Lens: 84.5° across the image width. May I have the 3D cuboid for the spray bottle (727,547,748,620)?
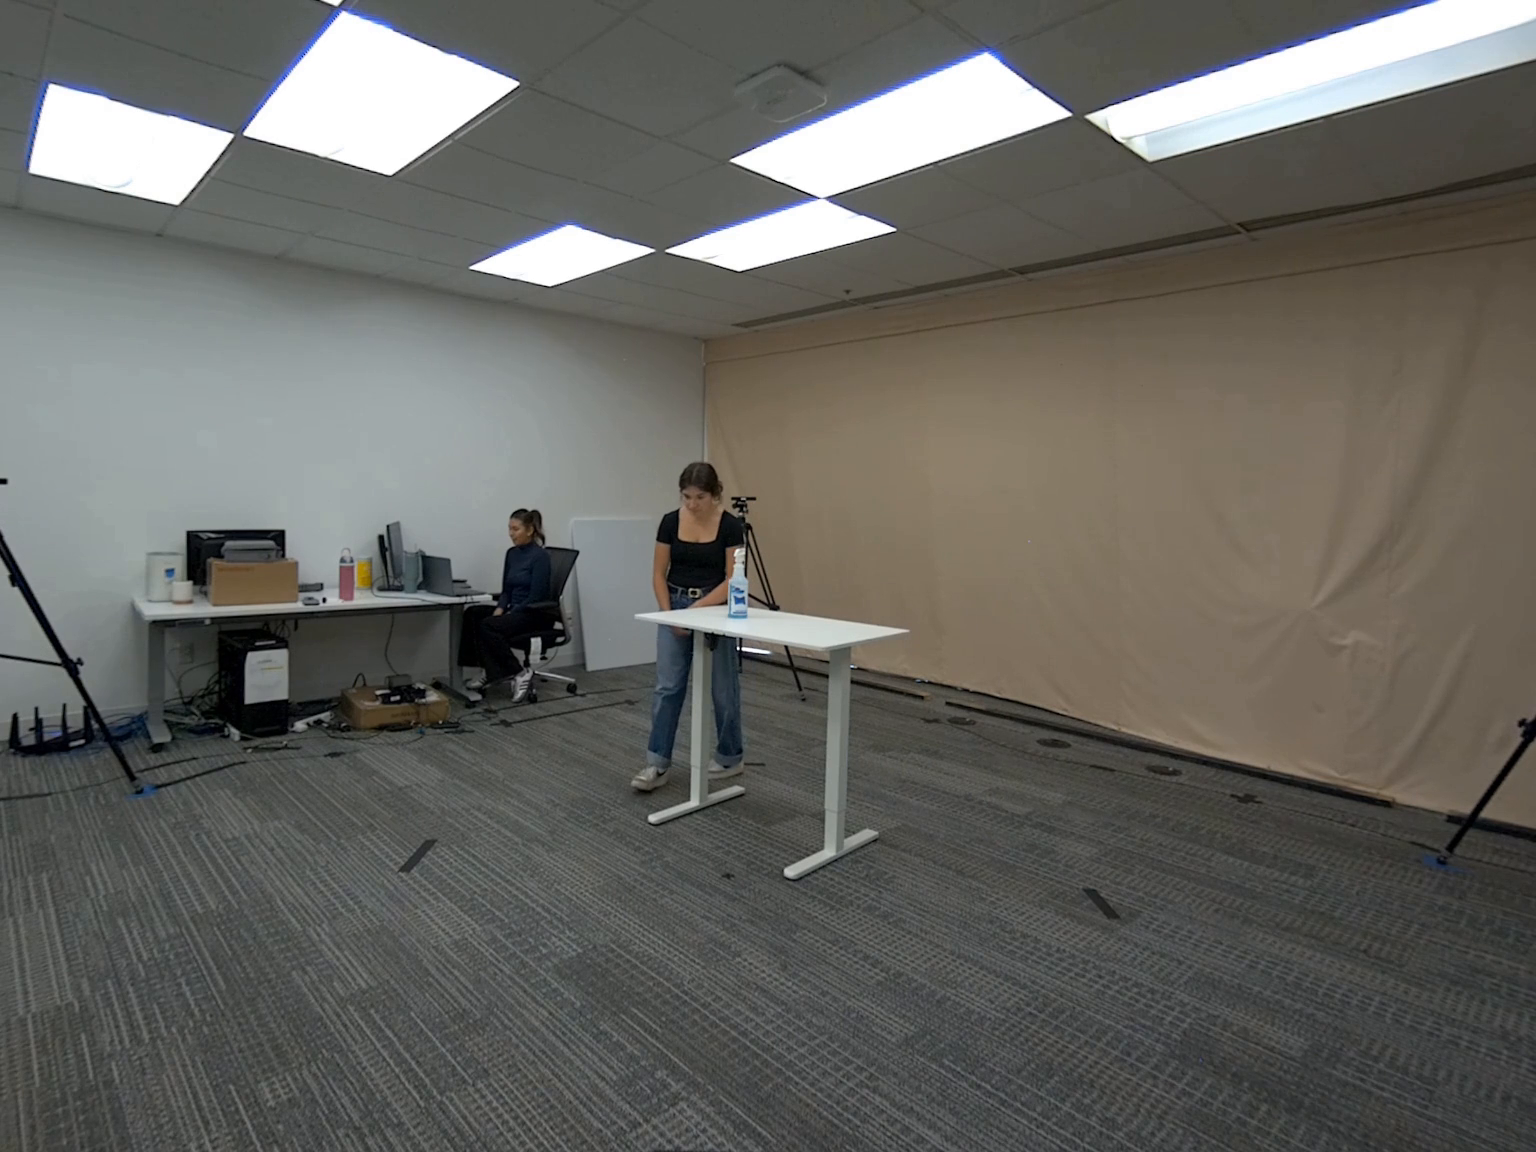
[{"bbox_3d":[-0.137,0.033,3.629,0.088,0.297,0.089,1,2,-42],"label":"spray bottle"}]
